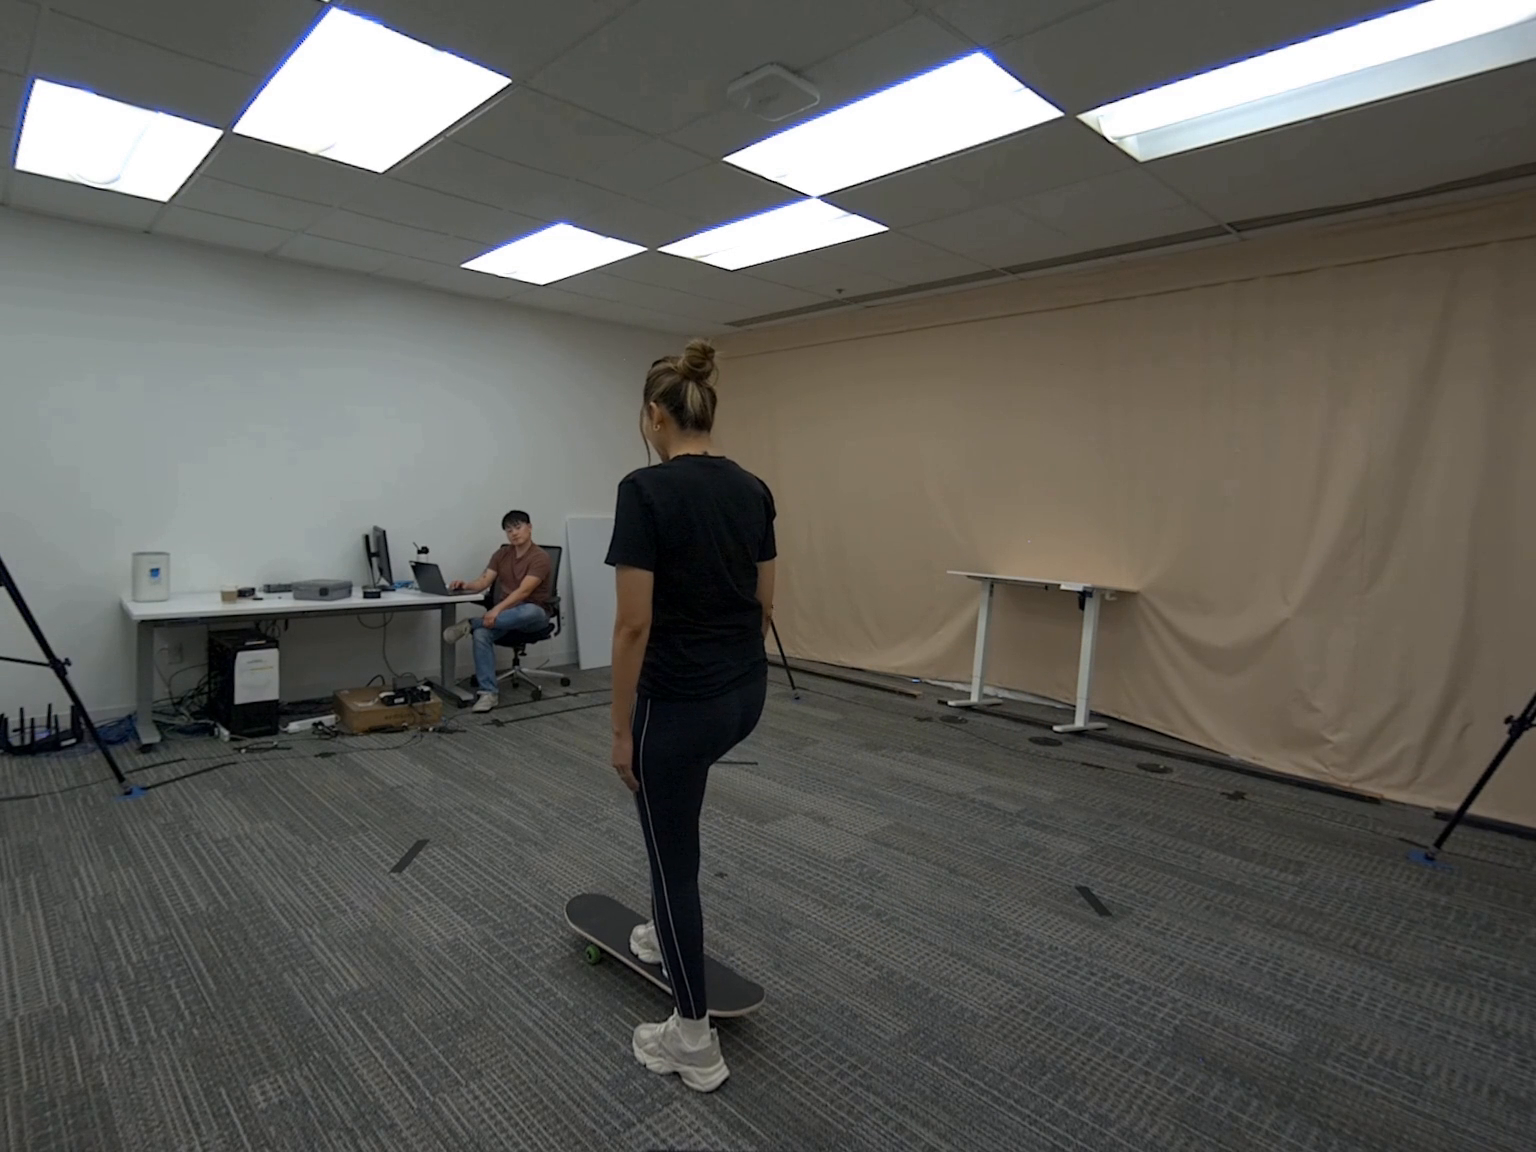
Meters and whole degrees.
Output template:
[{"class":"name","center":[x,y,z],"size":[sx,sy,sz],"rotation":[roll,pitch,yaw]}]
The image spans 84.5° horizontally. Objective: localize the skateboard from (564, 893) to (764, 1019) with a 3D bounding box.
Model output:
[{"class":"skateboard","center":[-0.327,1.110,2.406],"size":[0.806,0.110,0.189],"rotation":[6,6,44]}]
